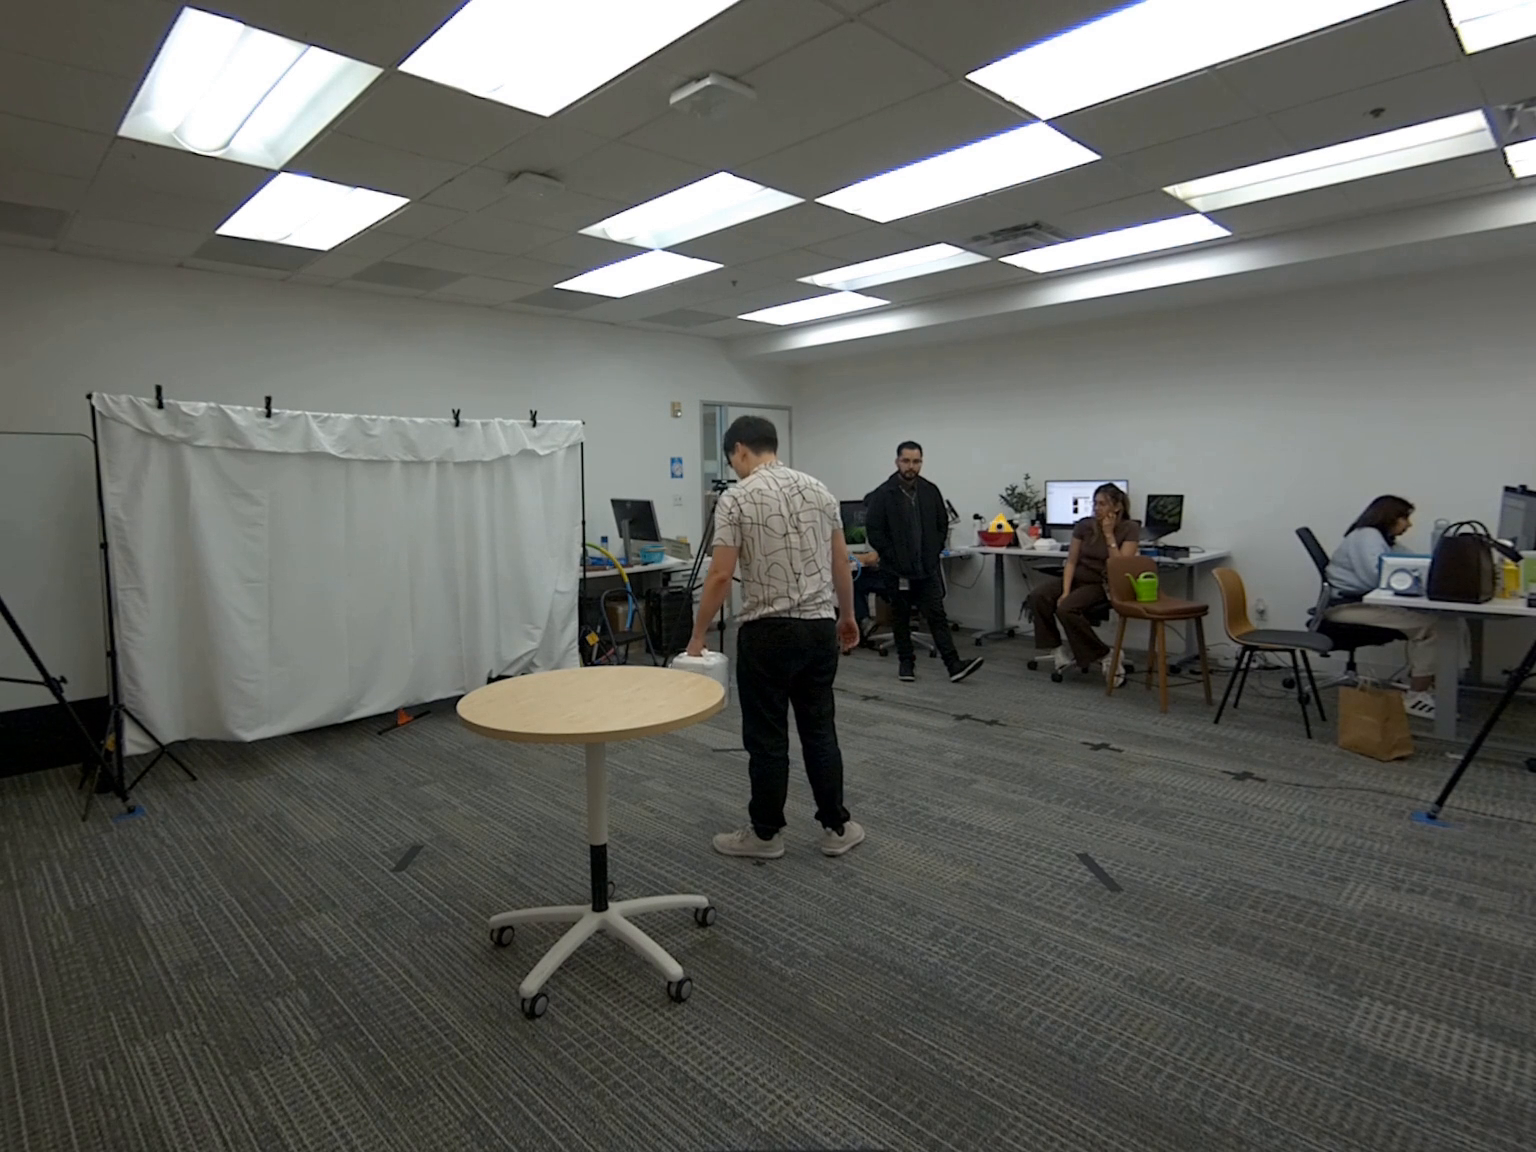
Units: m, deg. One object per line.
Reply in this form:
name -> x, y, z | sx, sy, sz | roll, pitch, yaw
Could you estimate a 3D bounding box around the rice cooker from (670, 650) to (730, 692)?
rice cooker -> -0.235, 0.374, 3.121 | 0.214, 0.233, 0.224 | -1, 0, -19
